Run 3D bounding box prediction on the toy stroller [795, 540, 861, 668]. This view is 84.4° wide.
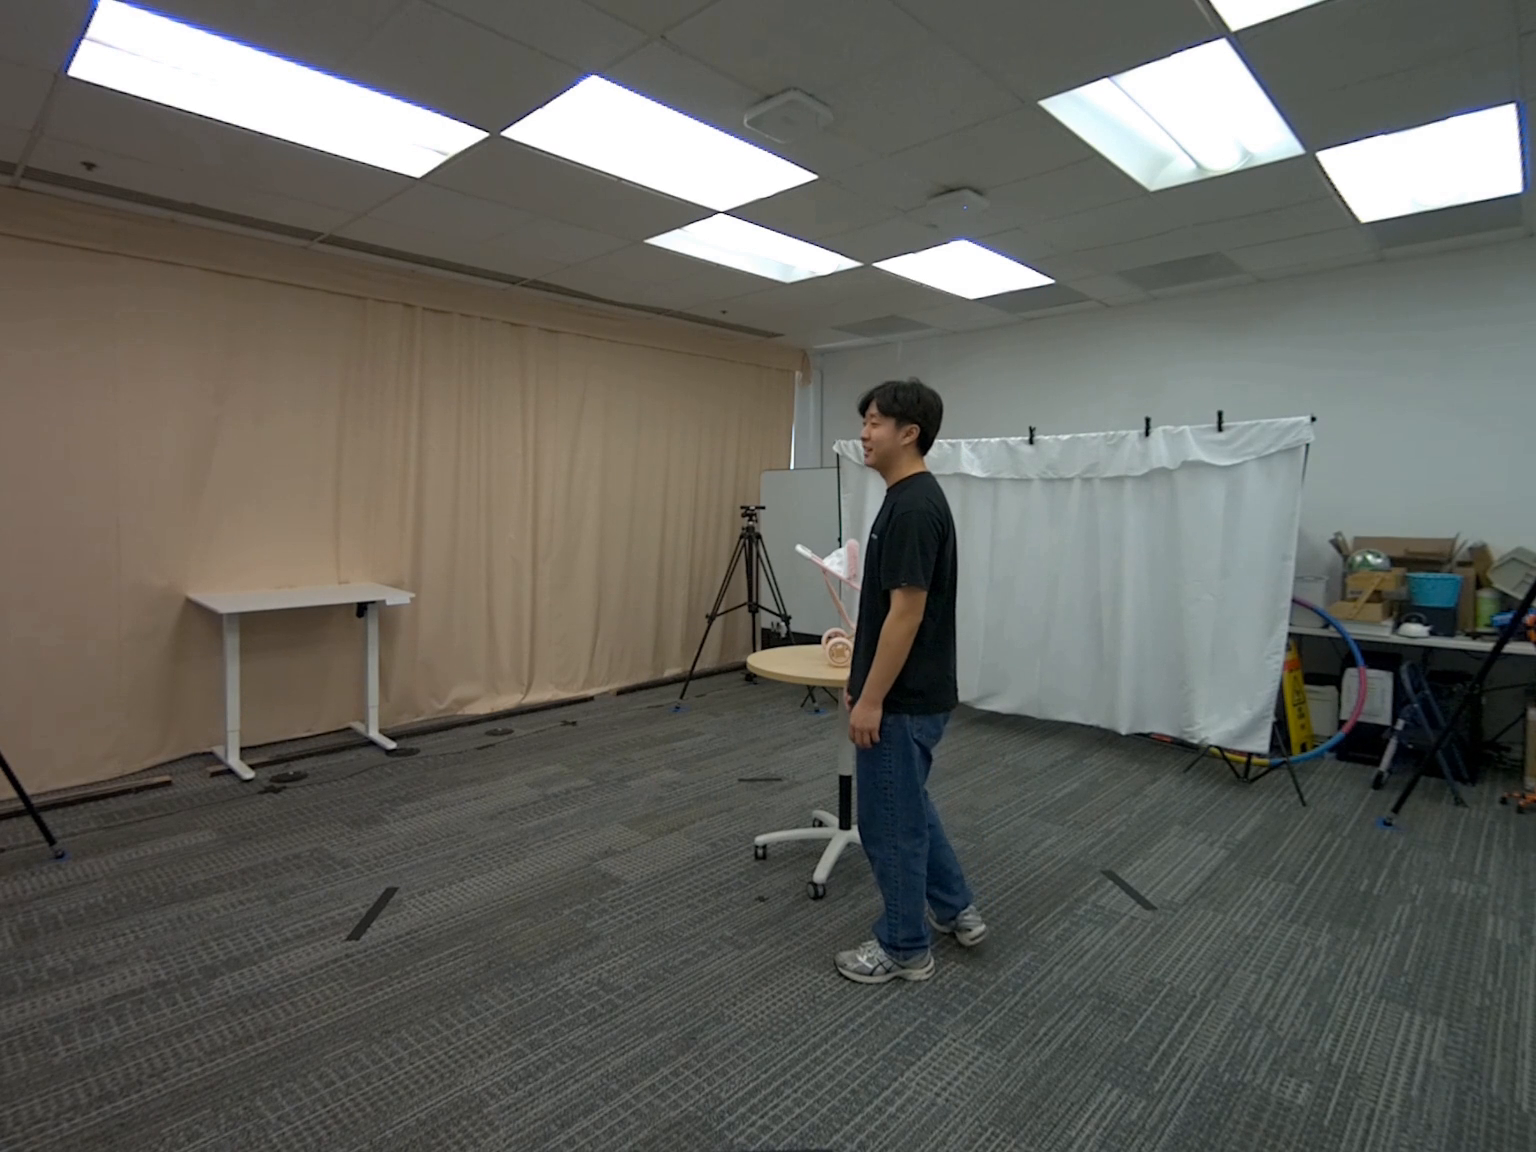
[{"bbox_3d":[0.339,0.103,3.204,0.344,0.534,0.280,-14,2,8],"label":"toy stroller"}]
